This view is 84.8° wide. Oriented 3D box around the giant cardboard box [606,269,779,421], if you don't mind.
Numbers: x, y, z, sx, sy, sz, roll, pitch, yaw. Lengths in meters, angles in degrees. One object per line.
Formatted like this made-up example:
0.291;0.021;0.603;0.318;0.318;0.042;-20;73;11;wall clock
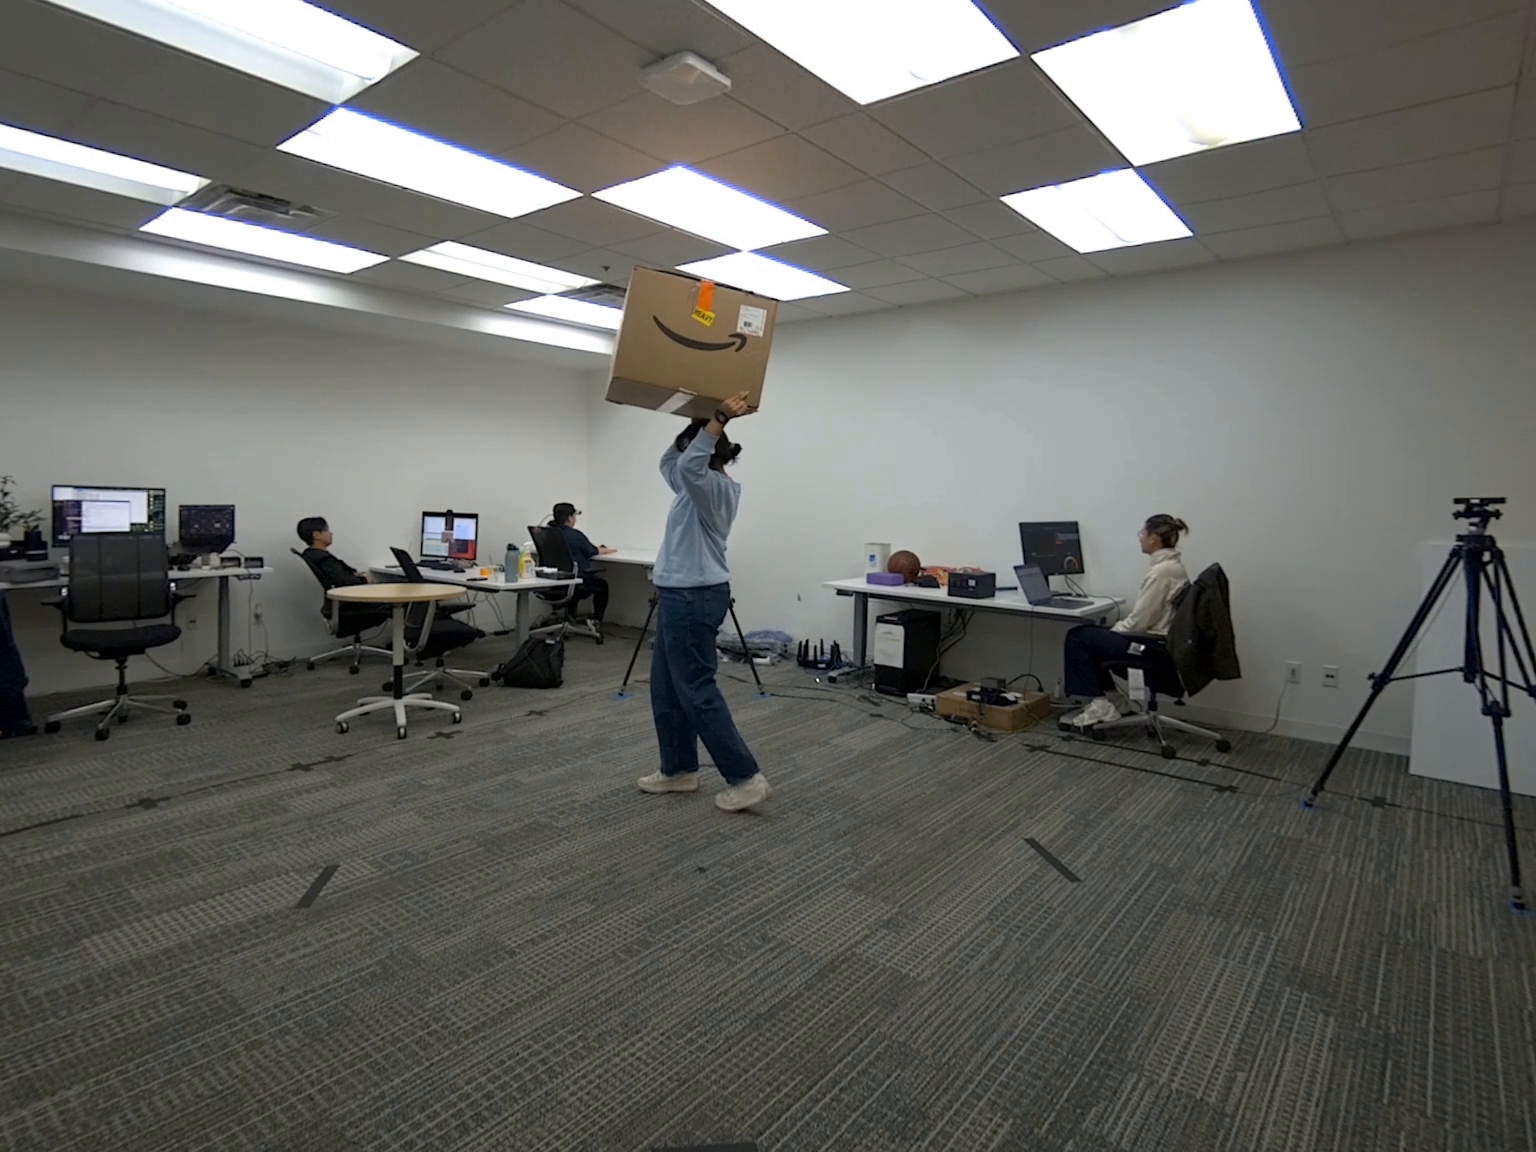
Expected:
-0.382;-0.961;3.707;0.570;0.425;1.043;10;5;-13;giant cardboard box
